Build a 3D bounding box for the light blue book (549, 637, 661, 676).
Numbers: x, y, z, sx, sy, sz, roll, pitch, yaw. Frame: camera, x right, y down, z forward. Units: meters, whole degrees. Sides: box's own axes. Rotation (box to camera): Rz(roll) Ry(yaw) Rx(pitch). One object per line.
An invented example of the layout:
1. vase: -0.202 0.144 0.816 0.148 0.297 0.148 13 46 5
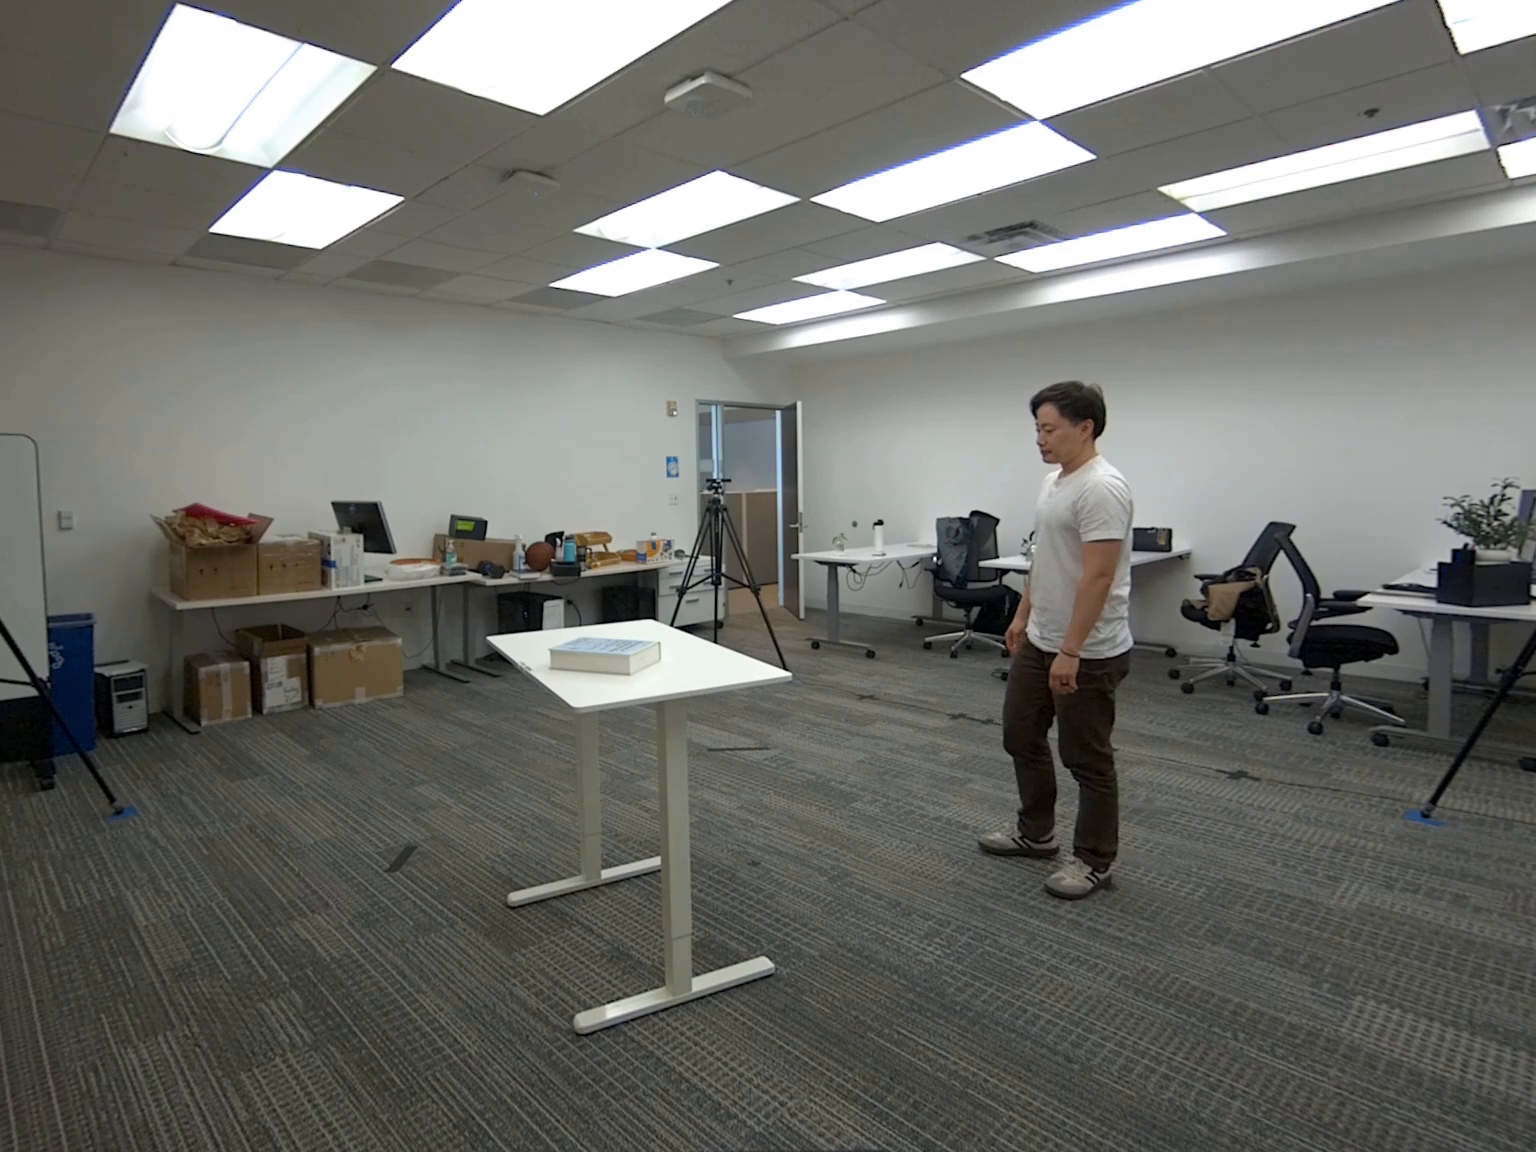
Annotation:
1. light blue book: -0.452 0.226 2.412 0.266 0.059 0.189 1 7 19
